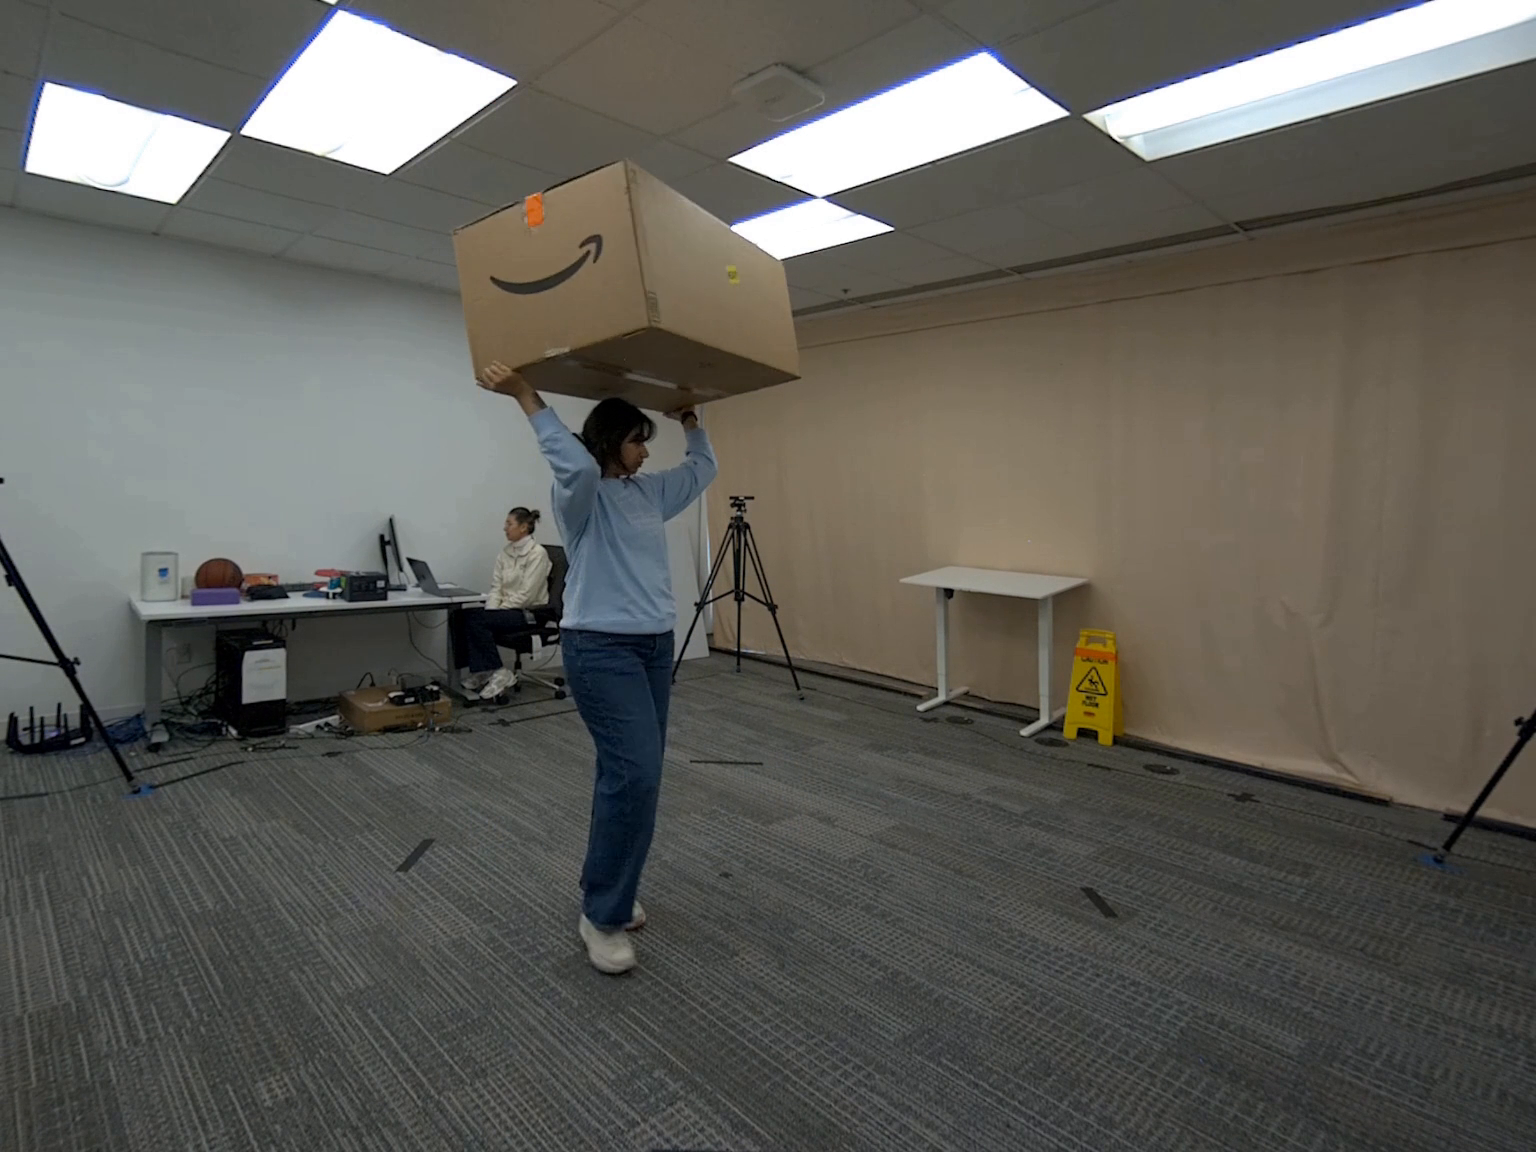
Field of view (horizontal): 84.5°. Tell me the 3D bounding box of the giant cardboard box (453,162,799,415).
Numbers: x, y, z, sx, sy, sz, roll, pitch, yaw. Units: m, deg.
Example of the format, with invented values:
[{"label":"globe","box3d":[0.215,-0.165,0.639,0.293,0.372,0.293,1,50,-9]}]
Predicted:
[{"label":"giant cardboard box","box3d":[-0.381,-0.818,2.627,0.586,0.426,1.009,-9,1,25]}]
